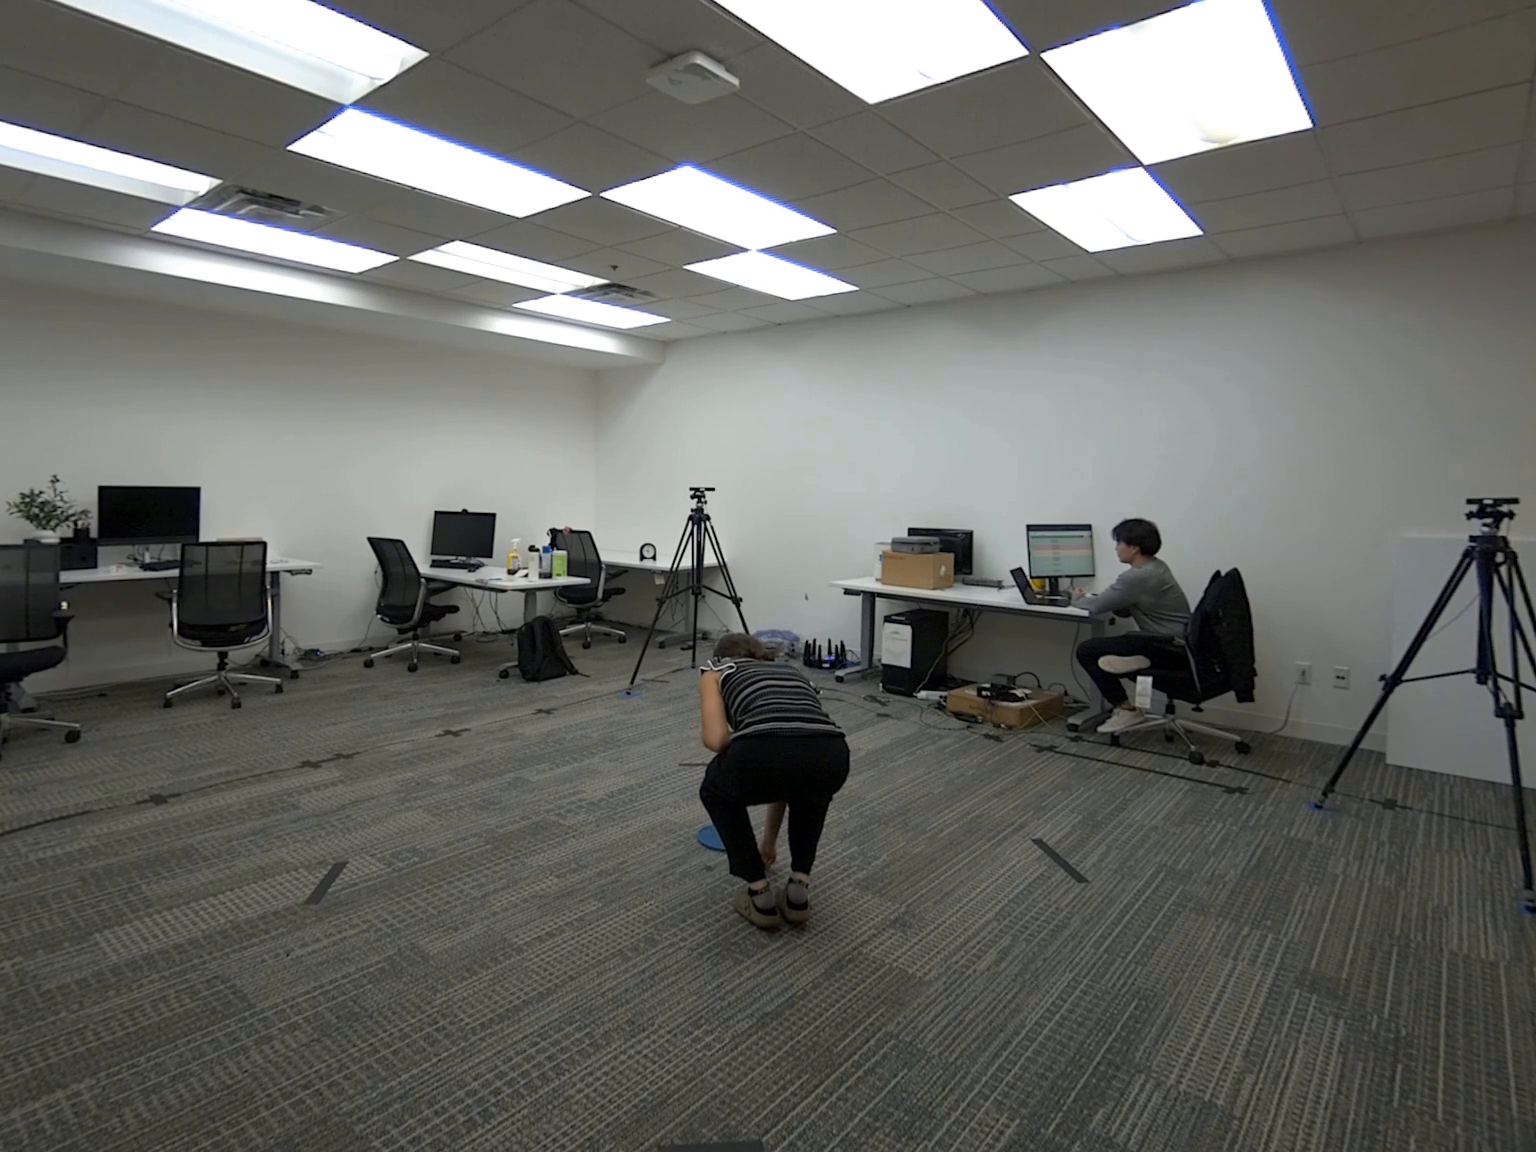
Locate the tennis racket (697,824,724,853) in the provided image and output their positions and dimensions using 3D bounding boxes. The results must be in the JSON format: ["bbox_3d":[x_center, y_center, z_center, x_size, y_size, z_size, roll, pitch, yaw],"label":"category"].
[{"bbox_3d":[-0.142,1.033,3.294,0.209,0.031,0.445,-4,7,-27],"label":"tennis racket"}]
